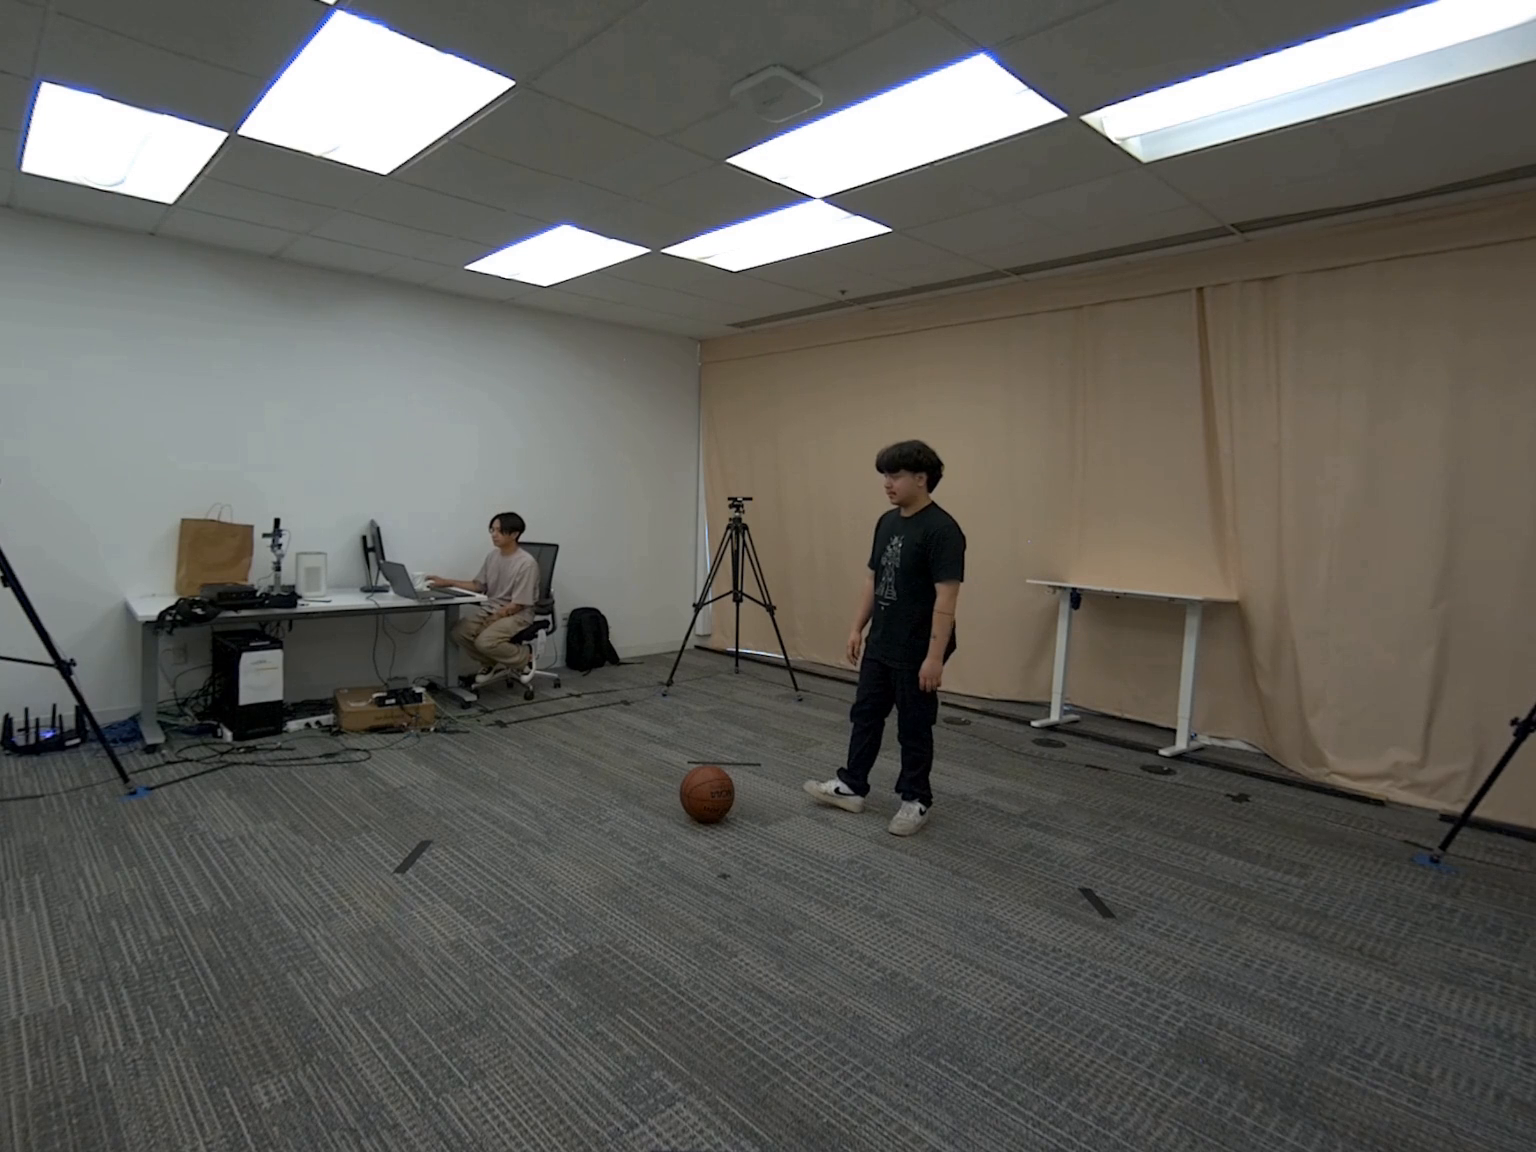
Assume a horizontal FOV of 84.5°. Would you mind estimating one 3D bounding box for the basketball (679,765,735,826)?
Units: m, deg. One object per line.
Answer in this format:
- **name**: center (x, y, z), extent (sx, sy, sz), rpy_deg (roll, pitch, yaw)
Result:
- **basketball**: center (-0.271, 0.938, 3.635), extent (0.236, 0.235, 0.237), rpy_deg (1, 4, -1)
